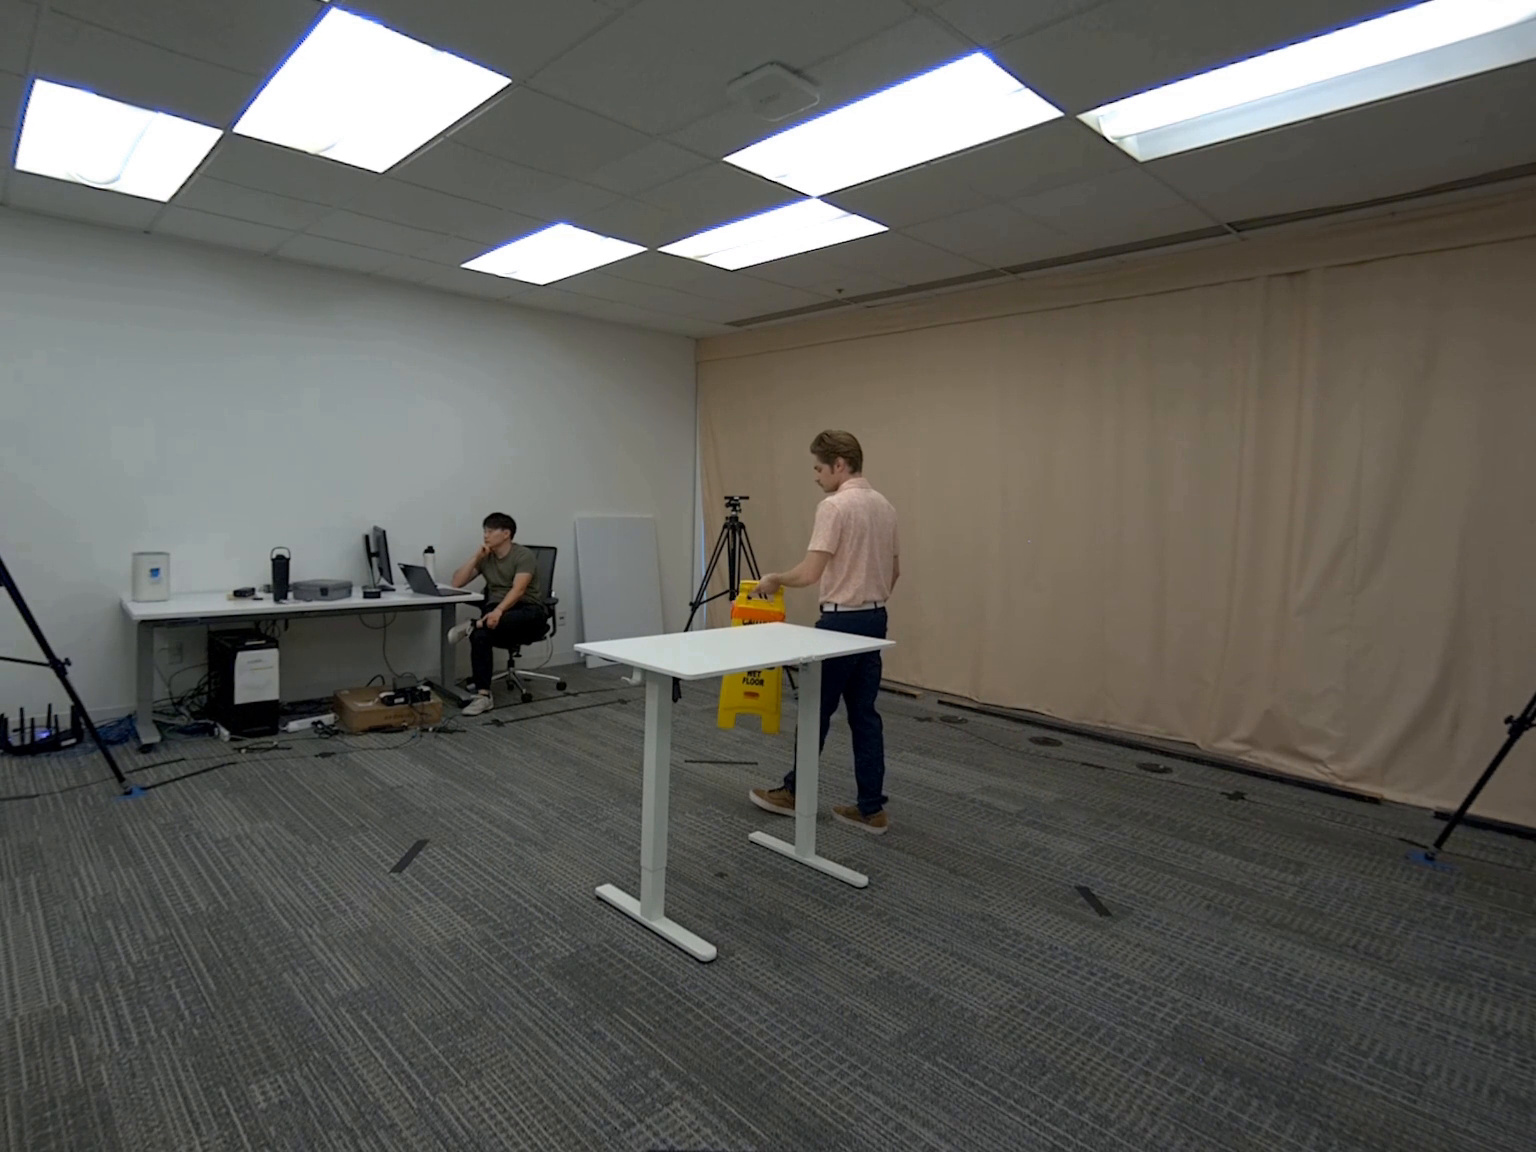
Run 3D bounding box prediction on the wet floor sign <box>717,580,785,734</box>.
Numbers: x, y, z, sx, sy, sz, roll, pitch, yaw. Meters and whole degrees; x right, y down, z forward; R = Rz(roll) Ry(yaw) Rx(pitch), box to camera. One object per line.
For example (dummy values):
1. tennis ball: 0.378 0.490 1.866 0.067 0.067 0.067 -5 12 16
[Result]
1. wet floor sign: -0.065 0.342 3.793 0.282 0.641 0.292 5 11 -2
